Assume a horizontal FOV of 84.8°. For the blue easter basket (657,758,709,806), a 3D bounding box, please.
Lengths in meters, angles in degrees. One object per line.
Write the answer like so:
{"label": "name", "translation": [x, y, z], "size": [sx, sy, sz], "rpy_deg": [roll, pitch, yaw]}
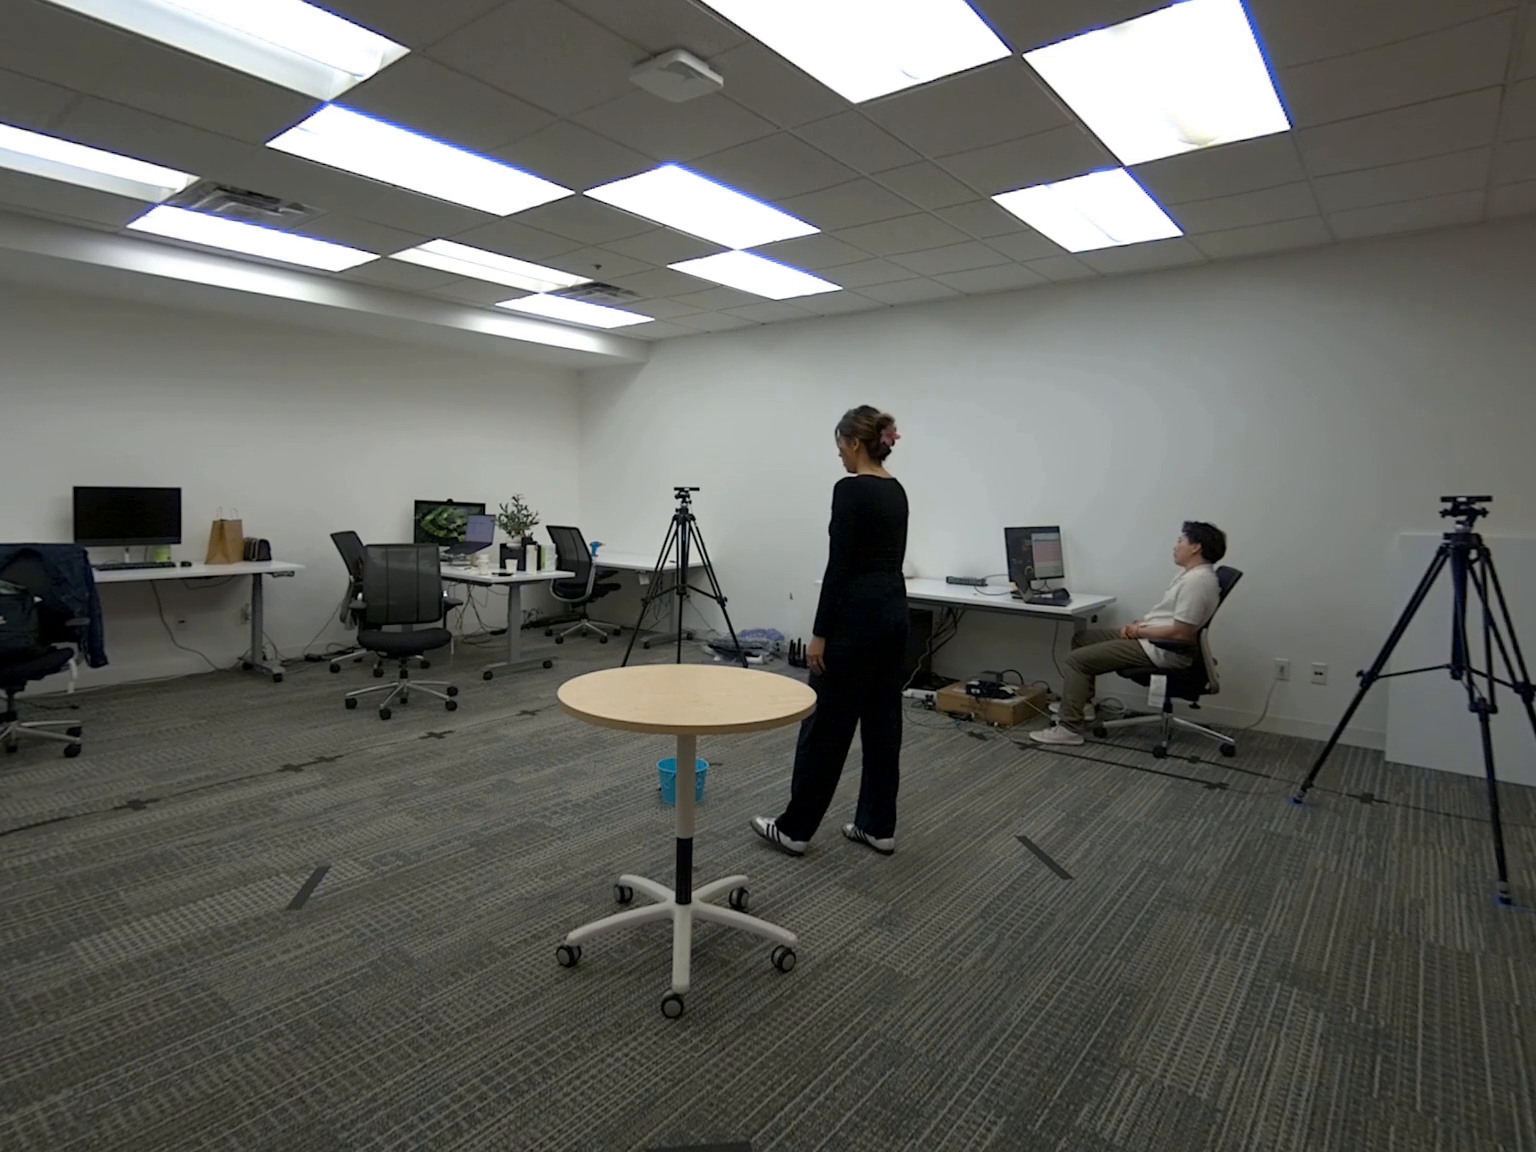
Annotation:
{"label": "blue easter basket", "translation": [-0.400, 0.916, 3.820], "size": [0.243, 0.155, 0.245], "rpy_deg": [1, 5, -2]}
